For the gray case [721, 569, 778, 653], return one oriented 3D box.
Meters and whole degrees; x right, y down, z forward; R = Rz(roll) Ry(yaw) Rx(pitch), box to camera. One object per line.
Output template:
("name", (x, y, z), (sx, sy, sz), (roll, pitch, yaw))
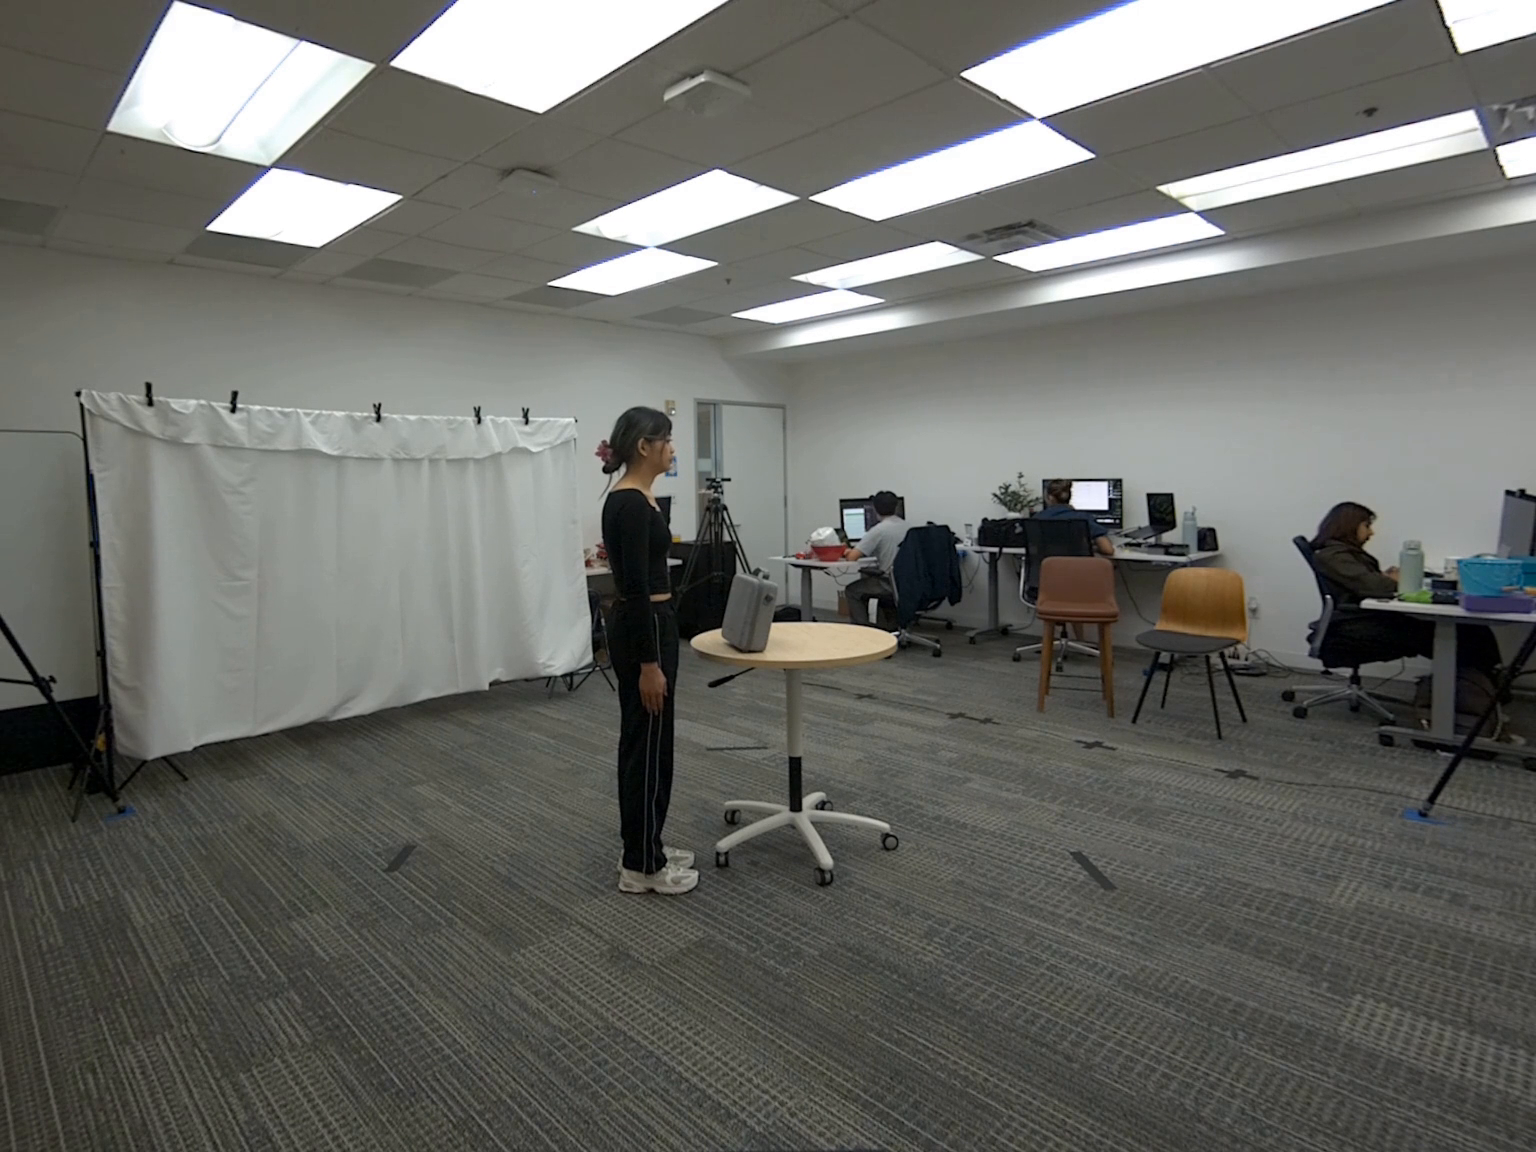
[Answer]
("gray case", (-0.069, 0.123, 3.055), (0.102, 0.260, 0.262), (11, 2, -19))
